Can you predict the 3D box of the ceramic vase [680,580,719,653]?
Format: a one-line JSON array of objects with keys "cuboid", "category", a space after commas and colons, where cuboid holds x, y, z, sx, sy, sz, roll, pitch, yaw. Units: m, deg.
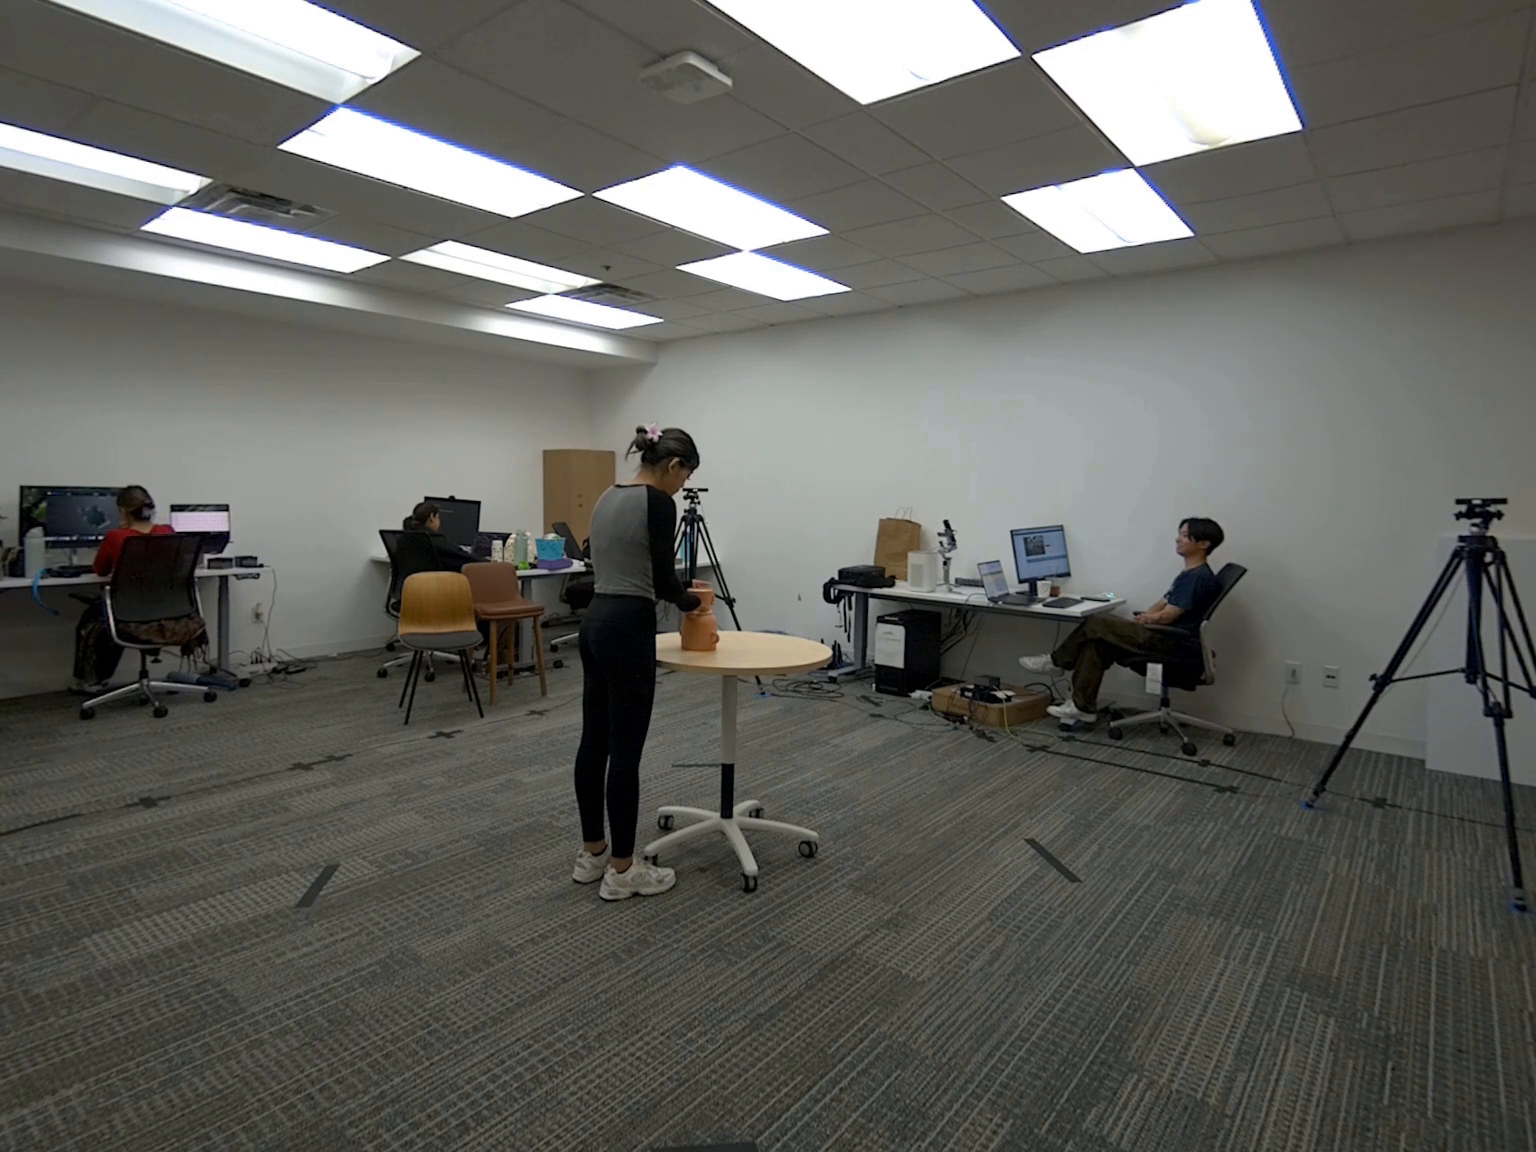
[{"cuboid": [-0.273, 0.155, 3.176, 0.159, 0.219, 0.135, 1, 2, 1], "category": "ceramic vase"}]
